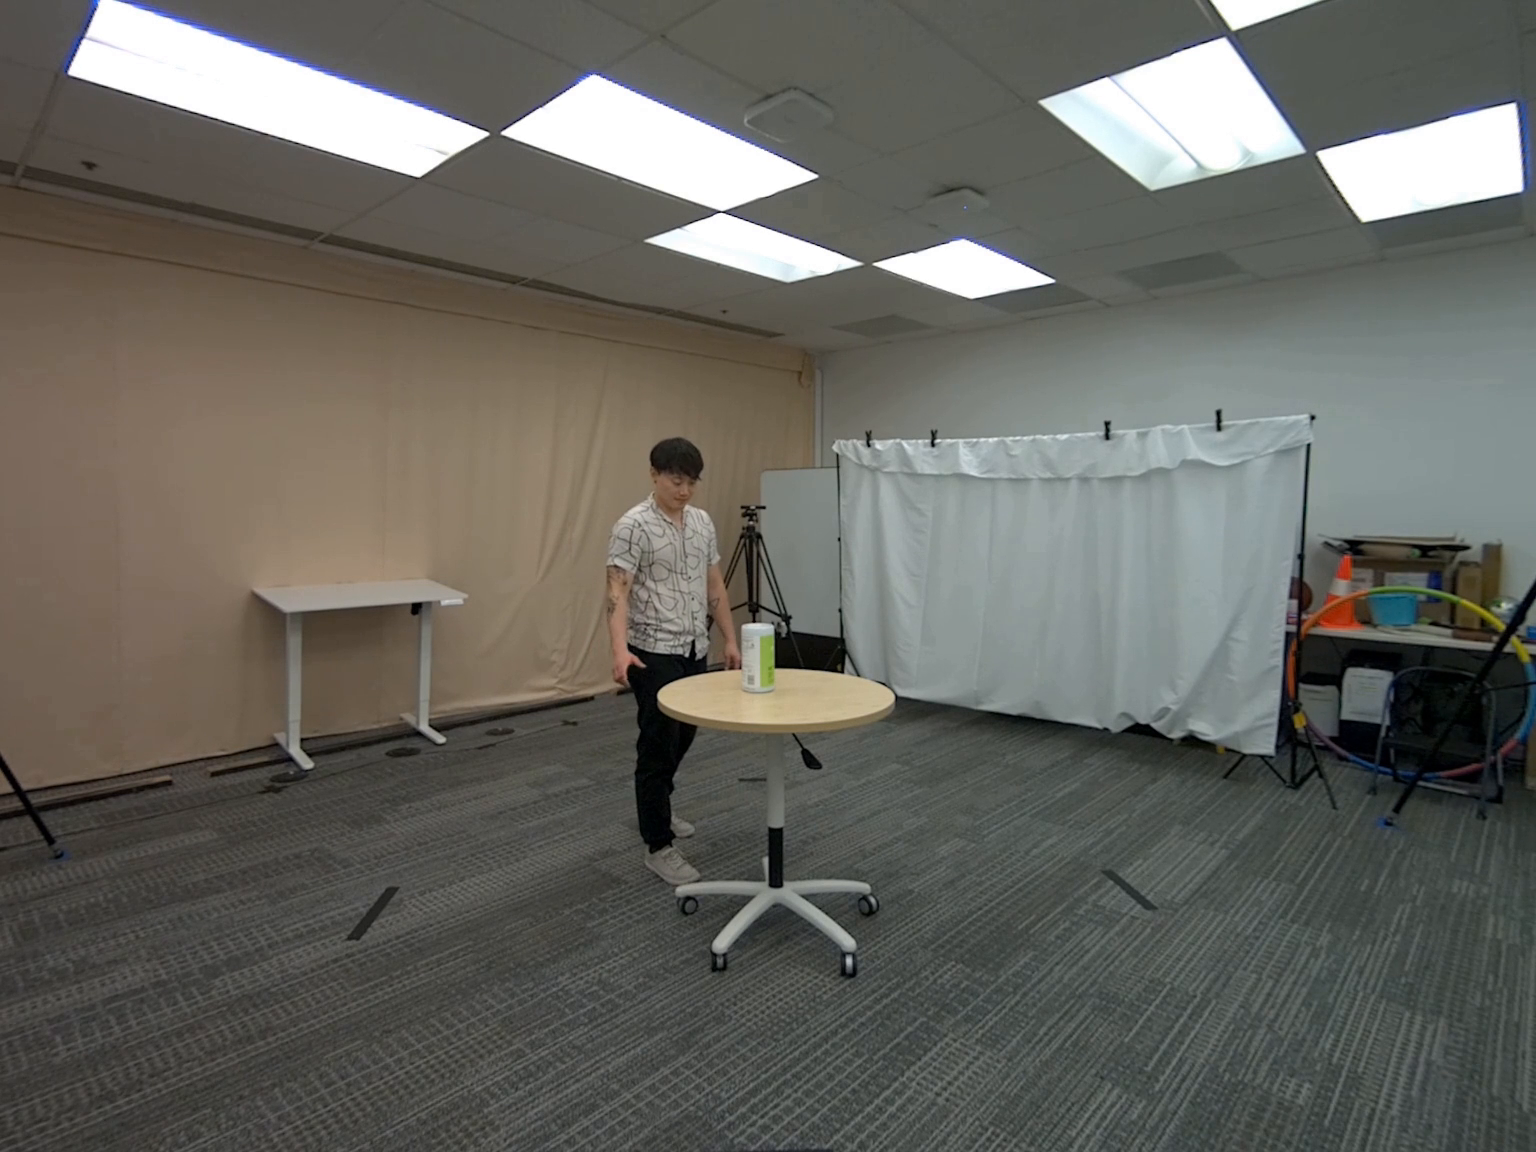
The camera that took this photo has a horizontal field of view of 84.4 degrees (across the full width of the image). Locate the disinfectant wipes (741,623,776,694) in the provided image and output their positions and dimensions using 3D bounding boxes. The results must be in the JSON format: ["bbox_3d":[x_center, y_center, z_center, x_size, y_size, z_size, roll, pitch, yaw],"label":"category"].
[{"bbox_3d":[-0.029,0.273,2.778,0.118,0.217,0.118,1,3,-2],"label":"disinfectant wipes"}]
